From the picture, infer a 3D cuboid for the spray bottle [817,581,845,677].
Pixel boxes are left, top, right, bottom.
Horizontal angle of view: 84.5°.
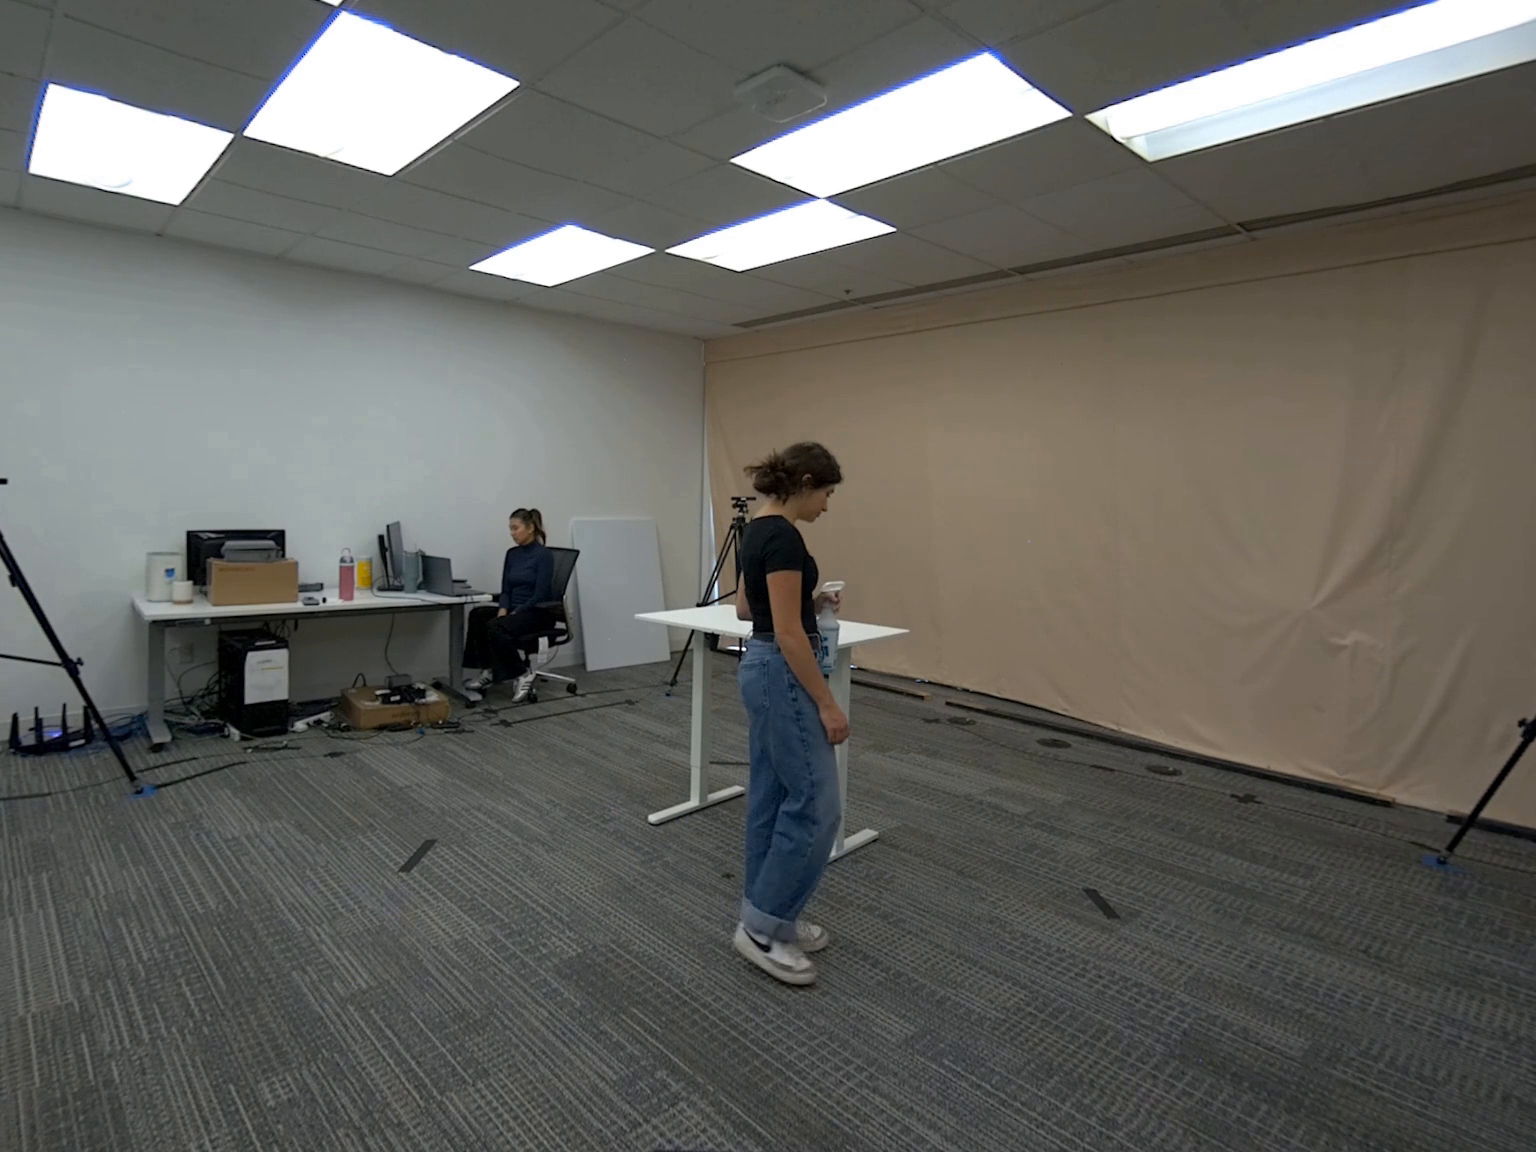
[{"bbox_3d":[0.187,0.171,2.737,0.089,0.296,0.088,6,7,-5],"label":"spray bottle"}]
